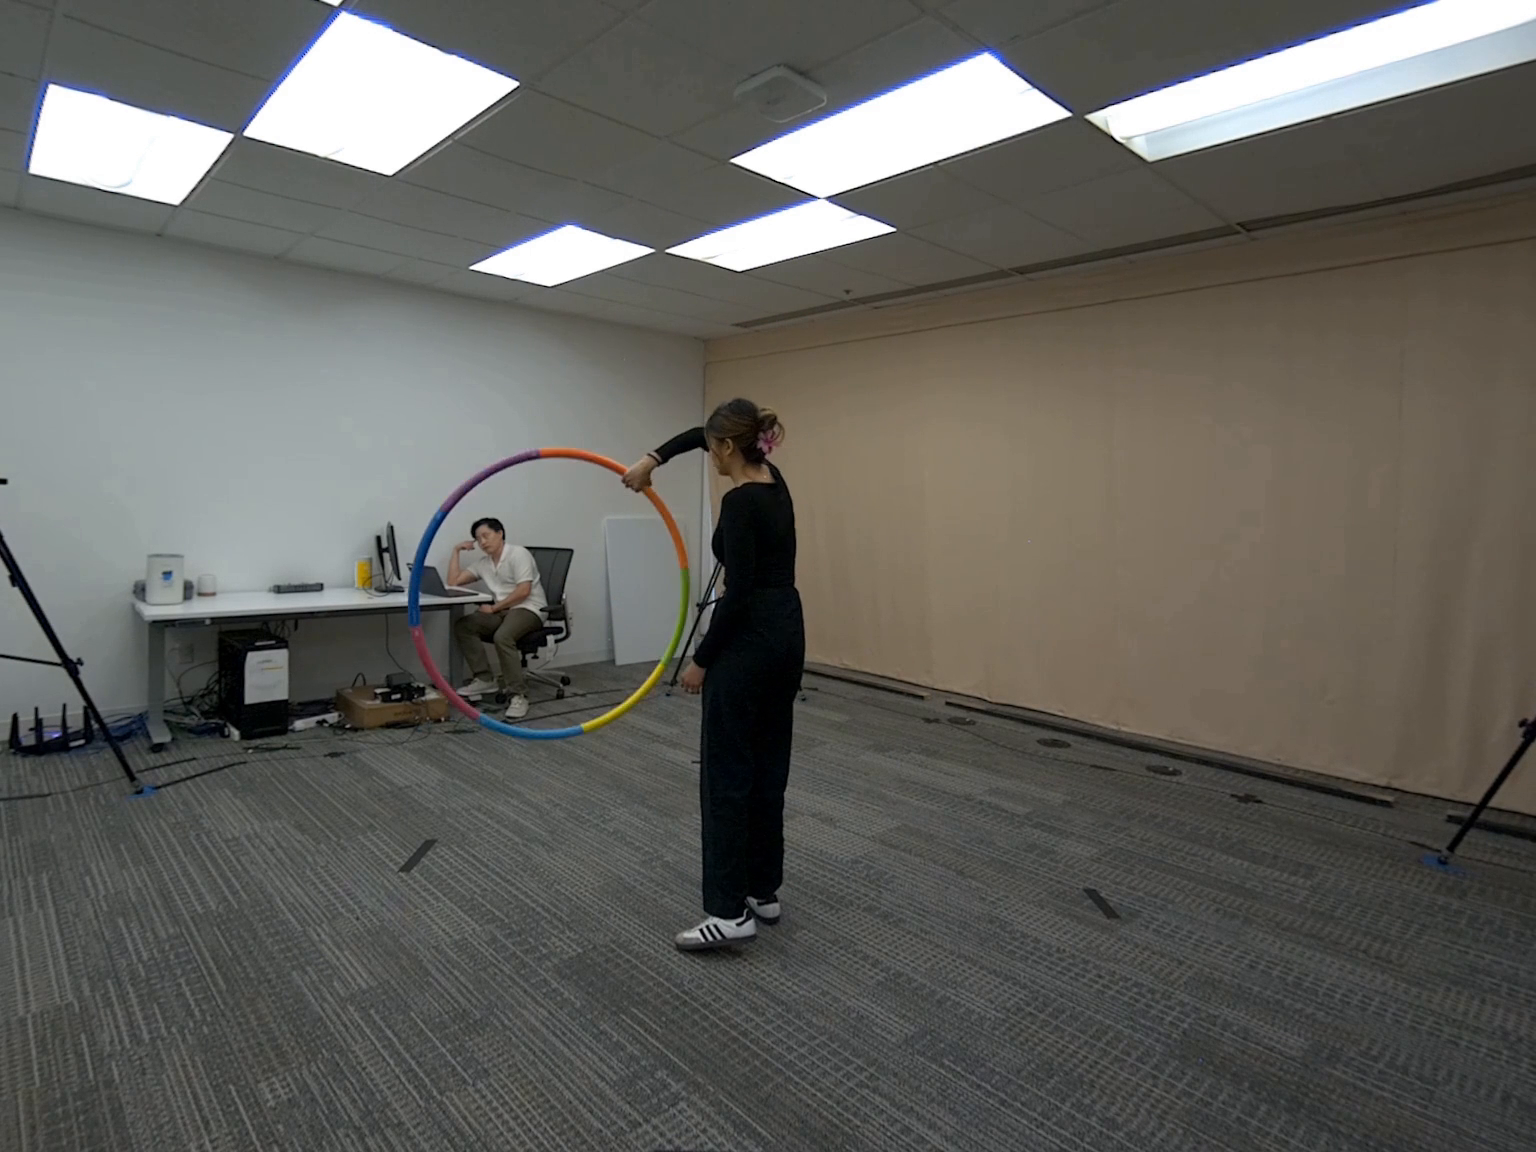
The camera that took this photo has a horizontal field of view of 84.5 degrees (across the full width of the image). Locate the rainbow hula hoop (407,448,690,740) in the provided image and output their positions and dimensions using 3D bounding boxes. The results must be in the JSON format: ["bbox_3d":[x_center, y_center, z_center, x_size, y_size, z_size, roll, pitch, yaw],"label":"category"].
[{"bbox_3d":[-0.697,0.059,2.863,0.966,0.983,0.053,-1,3,-29],"label":"rainbow hula hoop"}]
